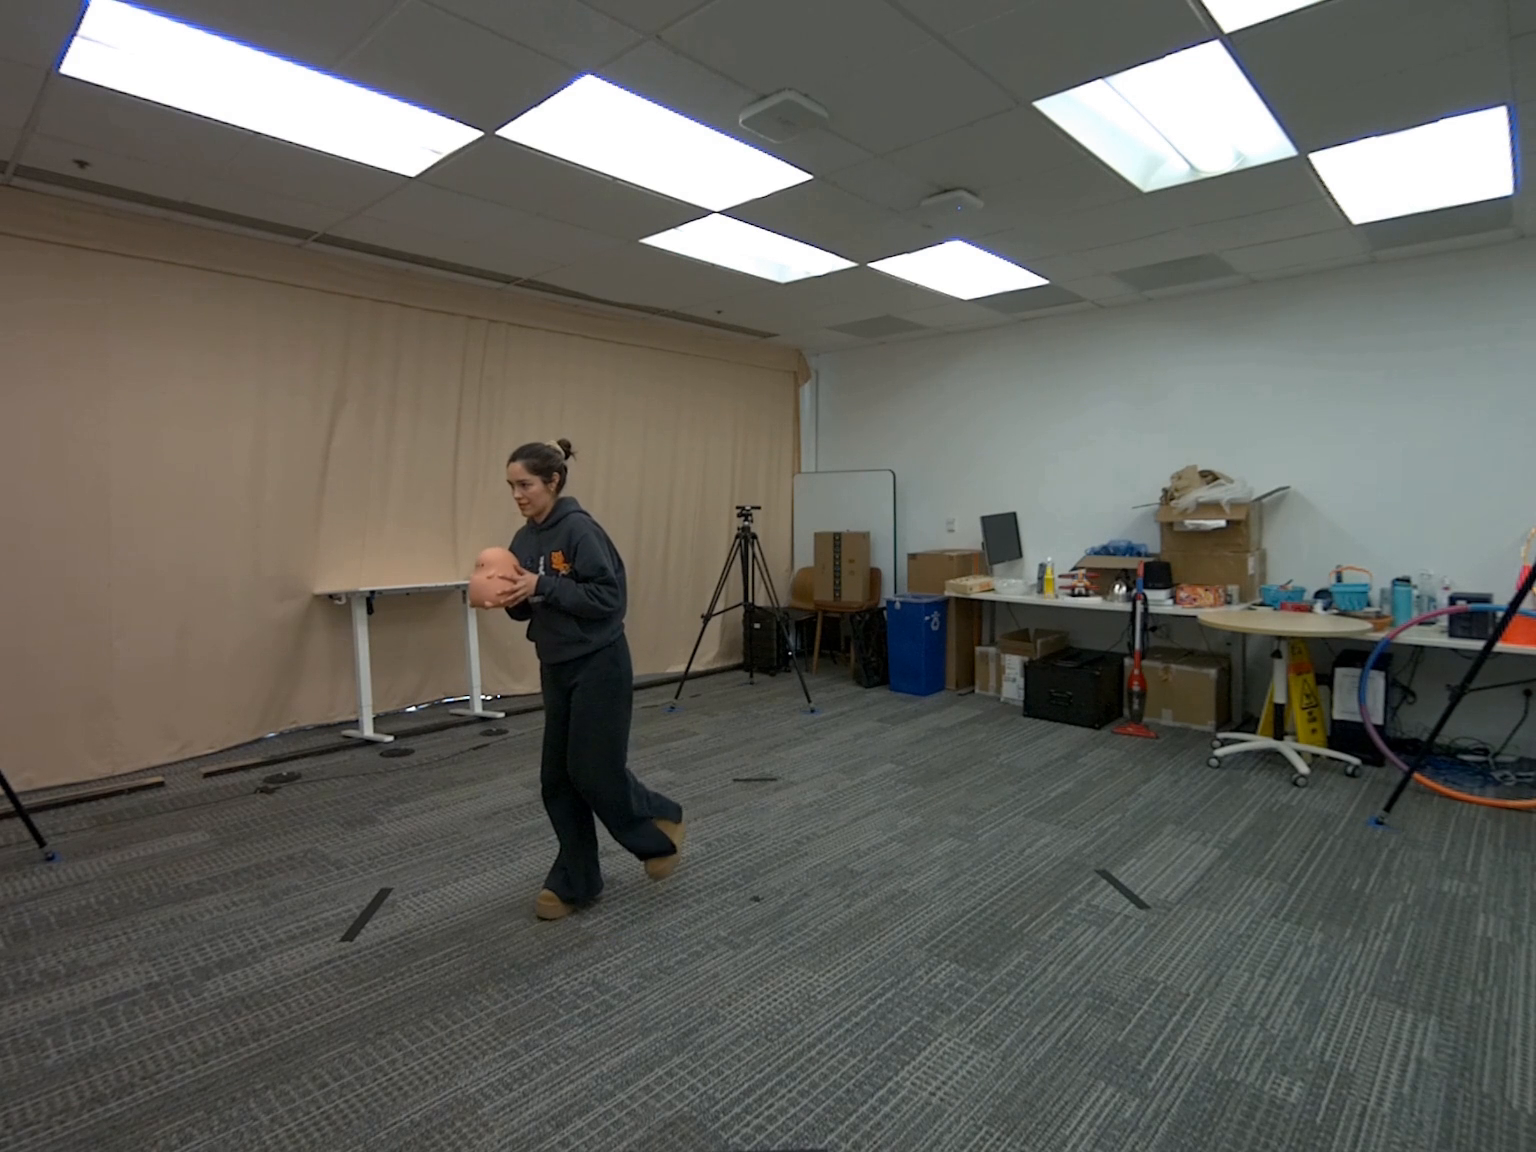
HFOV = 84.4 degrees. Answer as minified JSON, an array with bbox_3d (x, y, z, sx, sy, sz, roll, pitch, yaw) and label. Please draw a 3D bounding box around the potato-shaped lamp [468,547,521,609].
[{"bbox_3d":[-0.882,0.010,2.762,0.166,0.198,0.170,-4,-1,-44],"label":"potato-shaped lamp"}]
